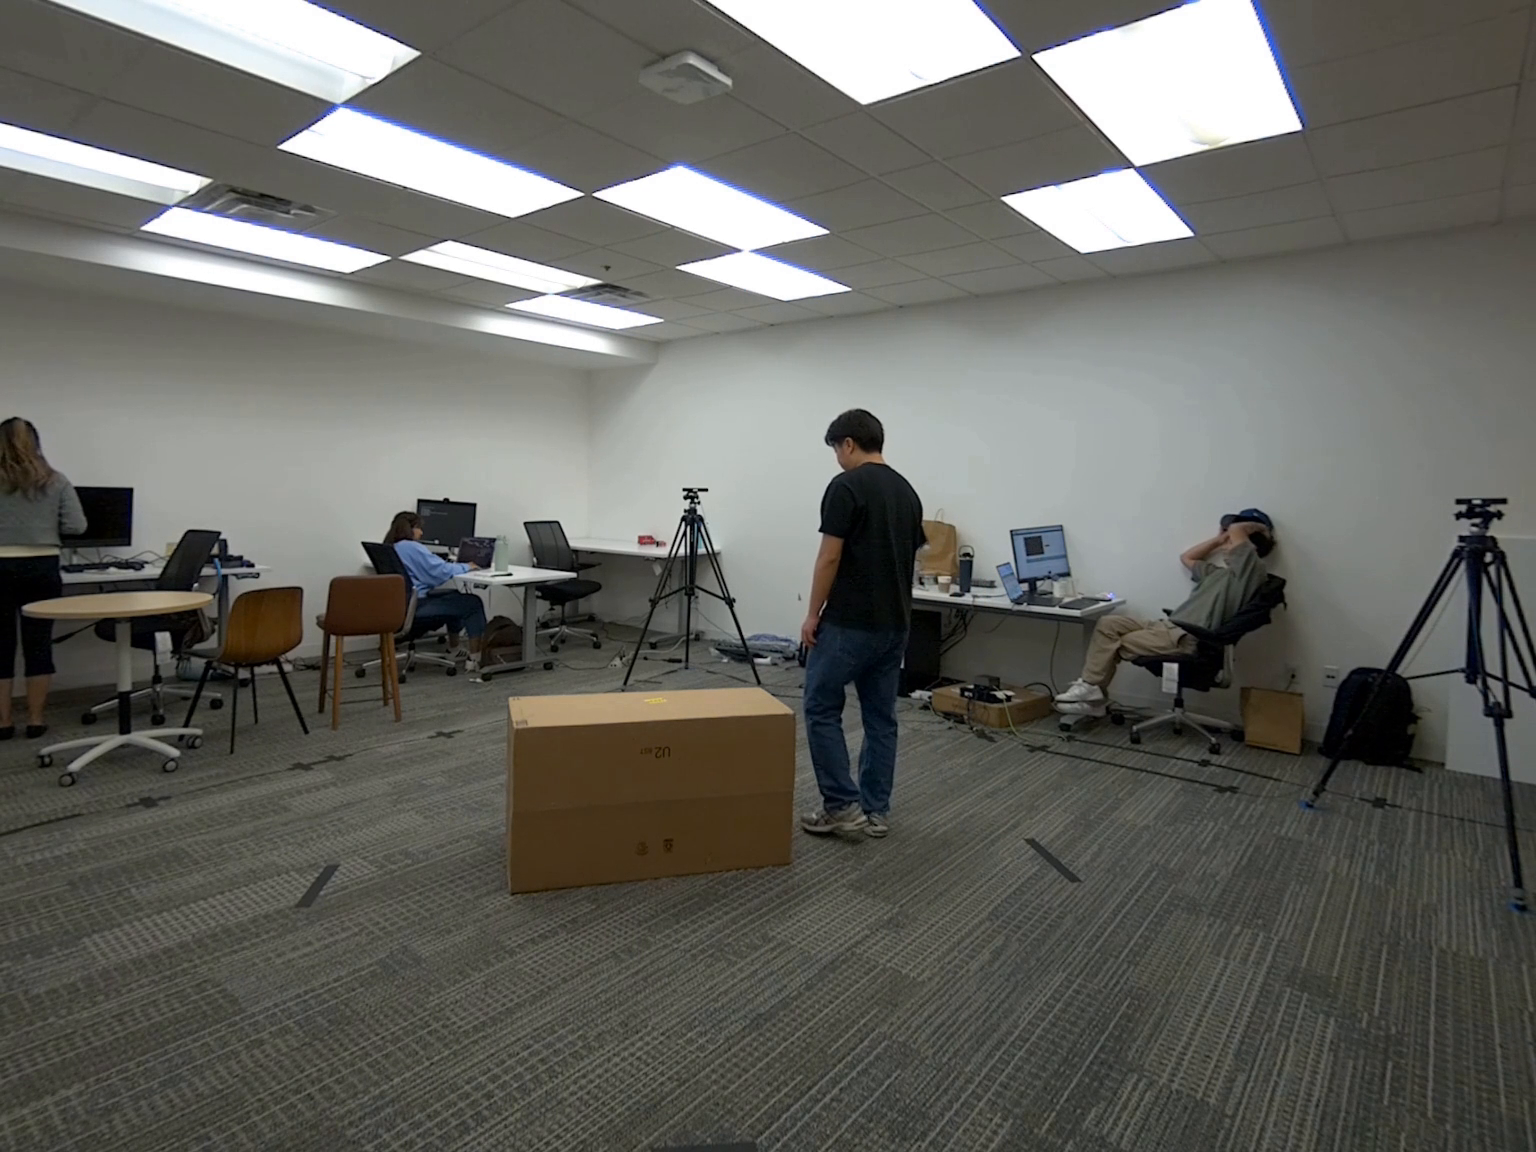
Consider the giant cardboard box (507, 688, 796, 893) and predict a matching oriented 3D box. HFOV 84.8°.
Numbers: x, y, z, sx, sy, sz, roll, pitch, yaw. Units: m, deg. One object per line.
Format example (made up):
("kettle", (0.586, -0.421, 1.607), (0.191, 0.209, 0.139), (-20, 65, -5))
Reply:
("giant cardboard box", (-0.463, 0.766, 3.210), (1.009, 0.583, 0.456), (0, 3, -18))
